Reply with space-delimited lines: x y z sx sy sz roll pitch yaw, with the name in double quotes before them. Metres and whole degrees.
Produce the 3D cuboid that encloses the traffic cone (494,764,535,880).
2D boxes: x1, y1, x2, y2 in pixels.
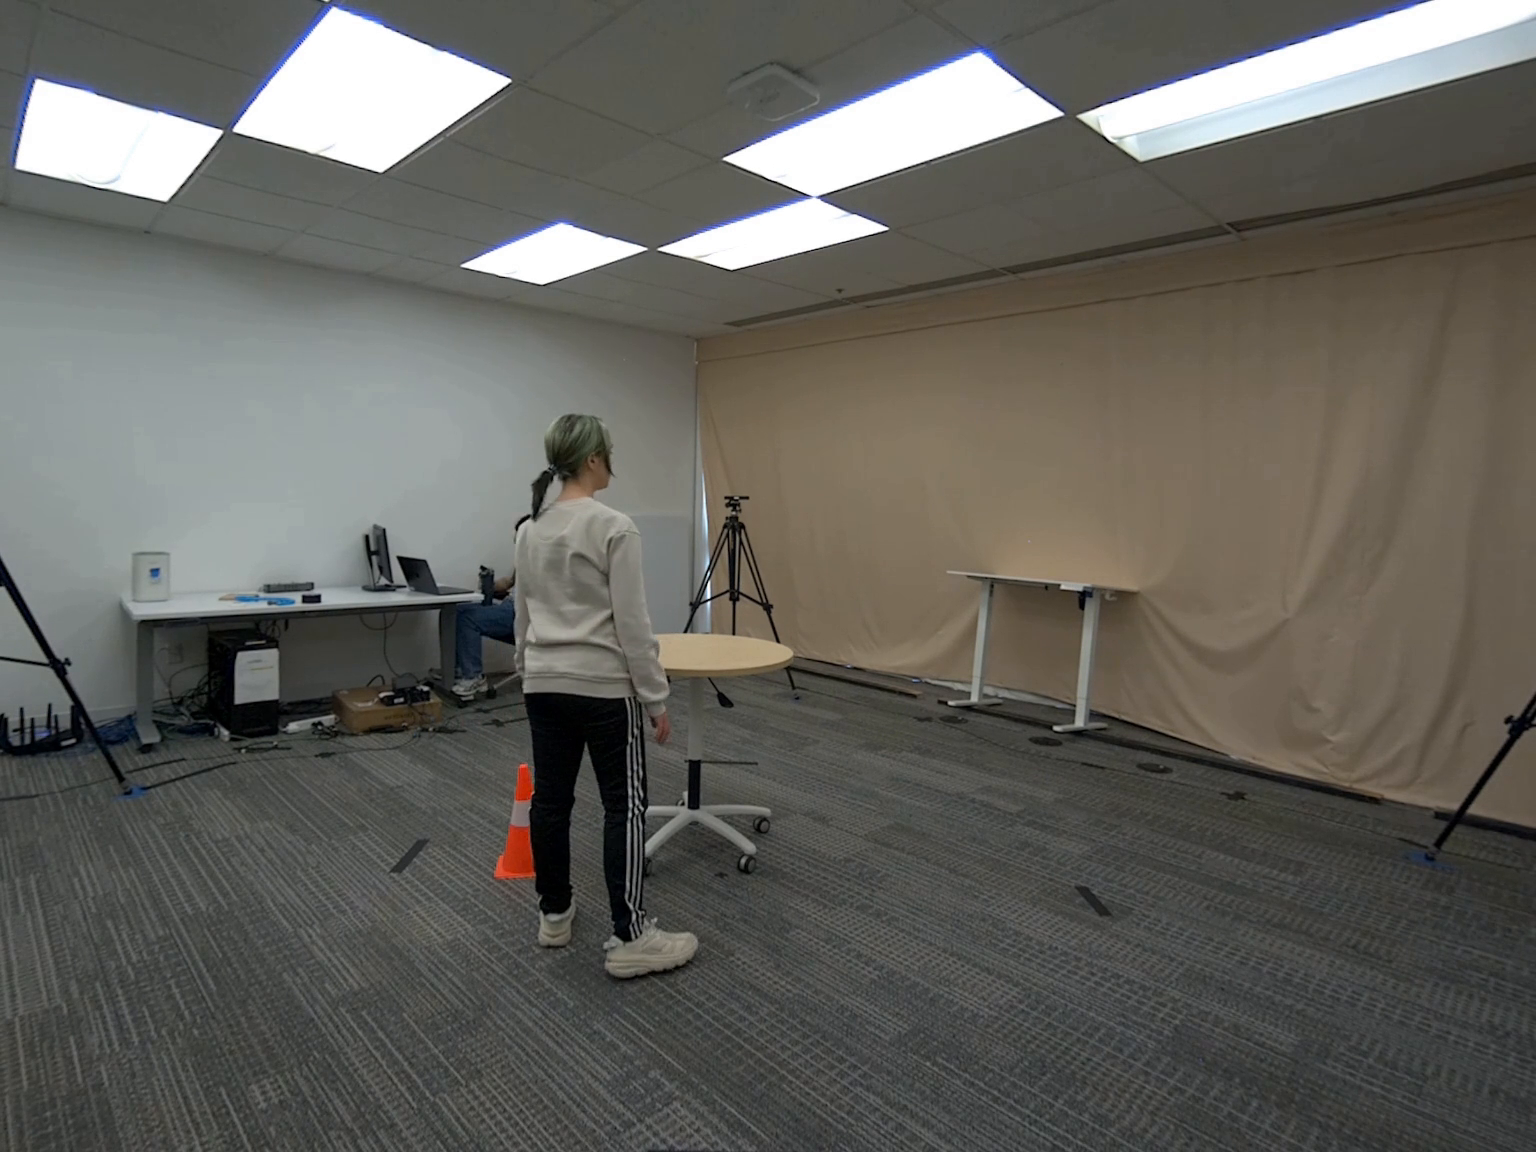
"traffic cone" -0.922 0.900 3.138 0.201 0.382 0.208 2 4 -16
